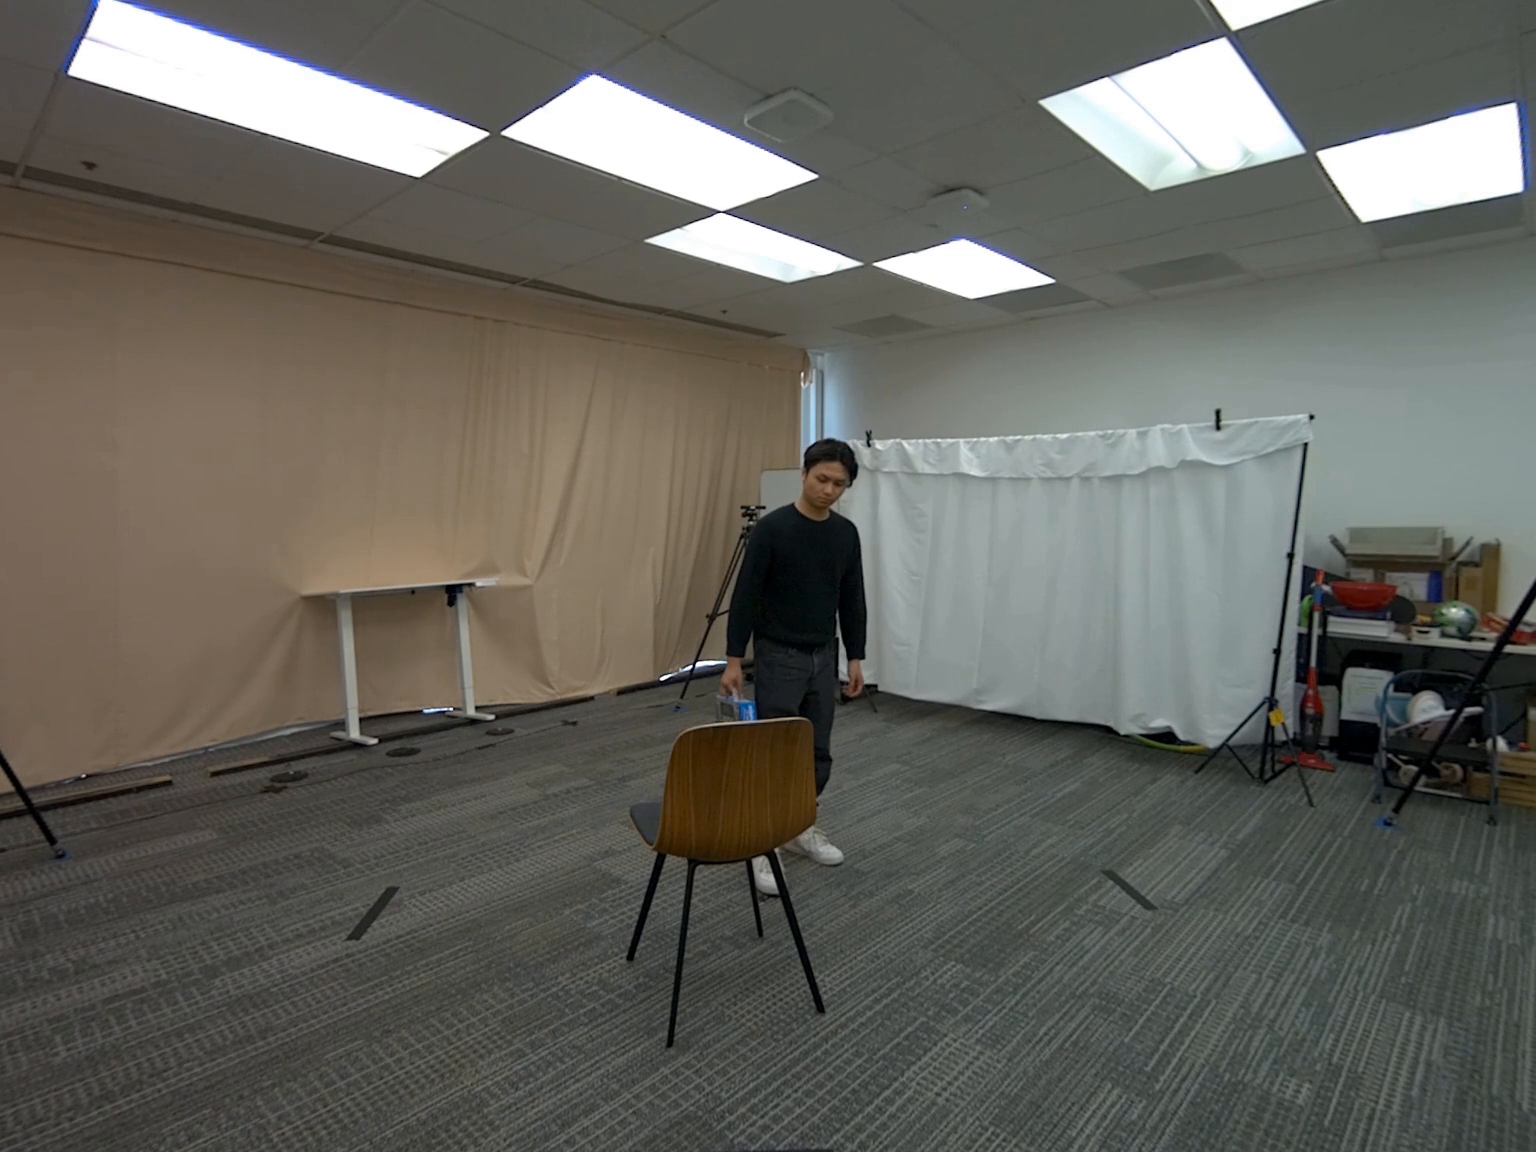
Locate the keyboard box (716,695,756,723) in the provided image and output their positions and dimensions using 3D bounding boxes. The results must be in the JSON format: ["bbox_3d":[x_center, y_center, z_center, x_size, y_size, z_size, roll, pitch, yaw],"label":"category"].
[{"bbox_3d":[-0.122,0.552,3.185,0.058,0.176,0.442,-3,-4,-16],"label":"keyboard box"}]
